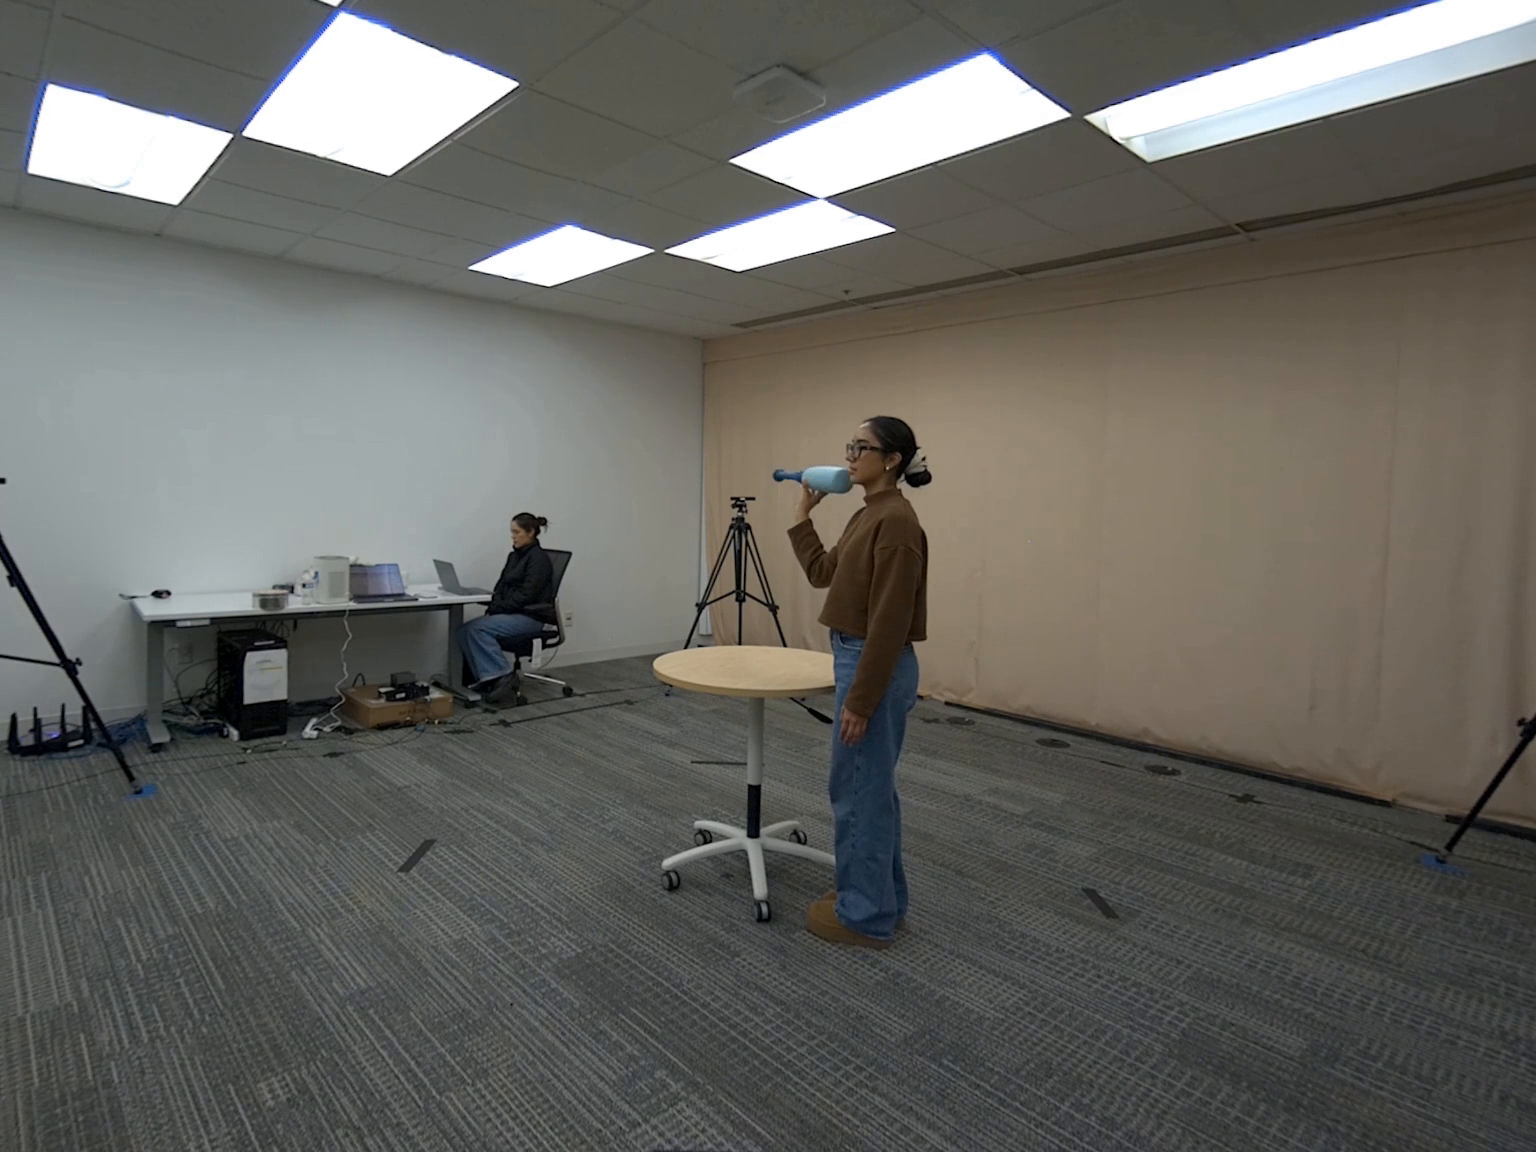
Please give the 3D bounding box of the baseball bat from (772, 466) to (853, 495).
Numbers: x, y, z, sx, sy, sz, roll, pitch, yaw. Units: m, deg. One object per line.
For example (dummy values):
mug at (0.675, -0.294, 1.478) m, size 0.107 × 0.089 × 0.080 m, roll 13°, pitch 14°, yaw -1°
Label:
baseball bat at (0.141, -0.349, 2.982) m, size 0.087 × 0.088 × 0.555 m, roll 0°, pitch 9°, yaw -23°
